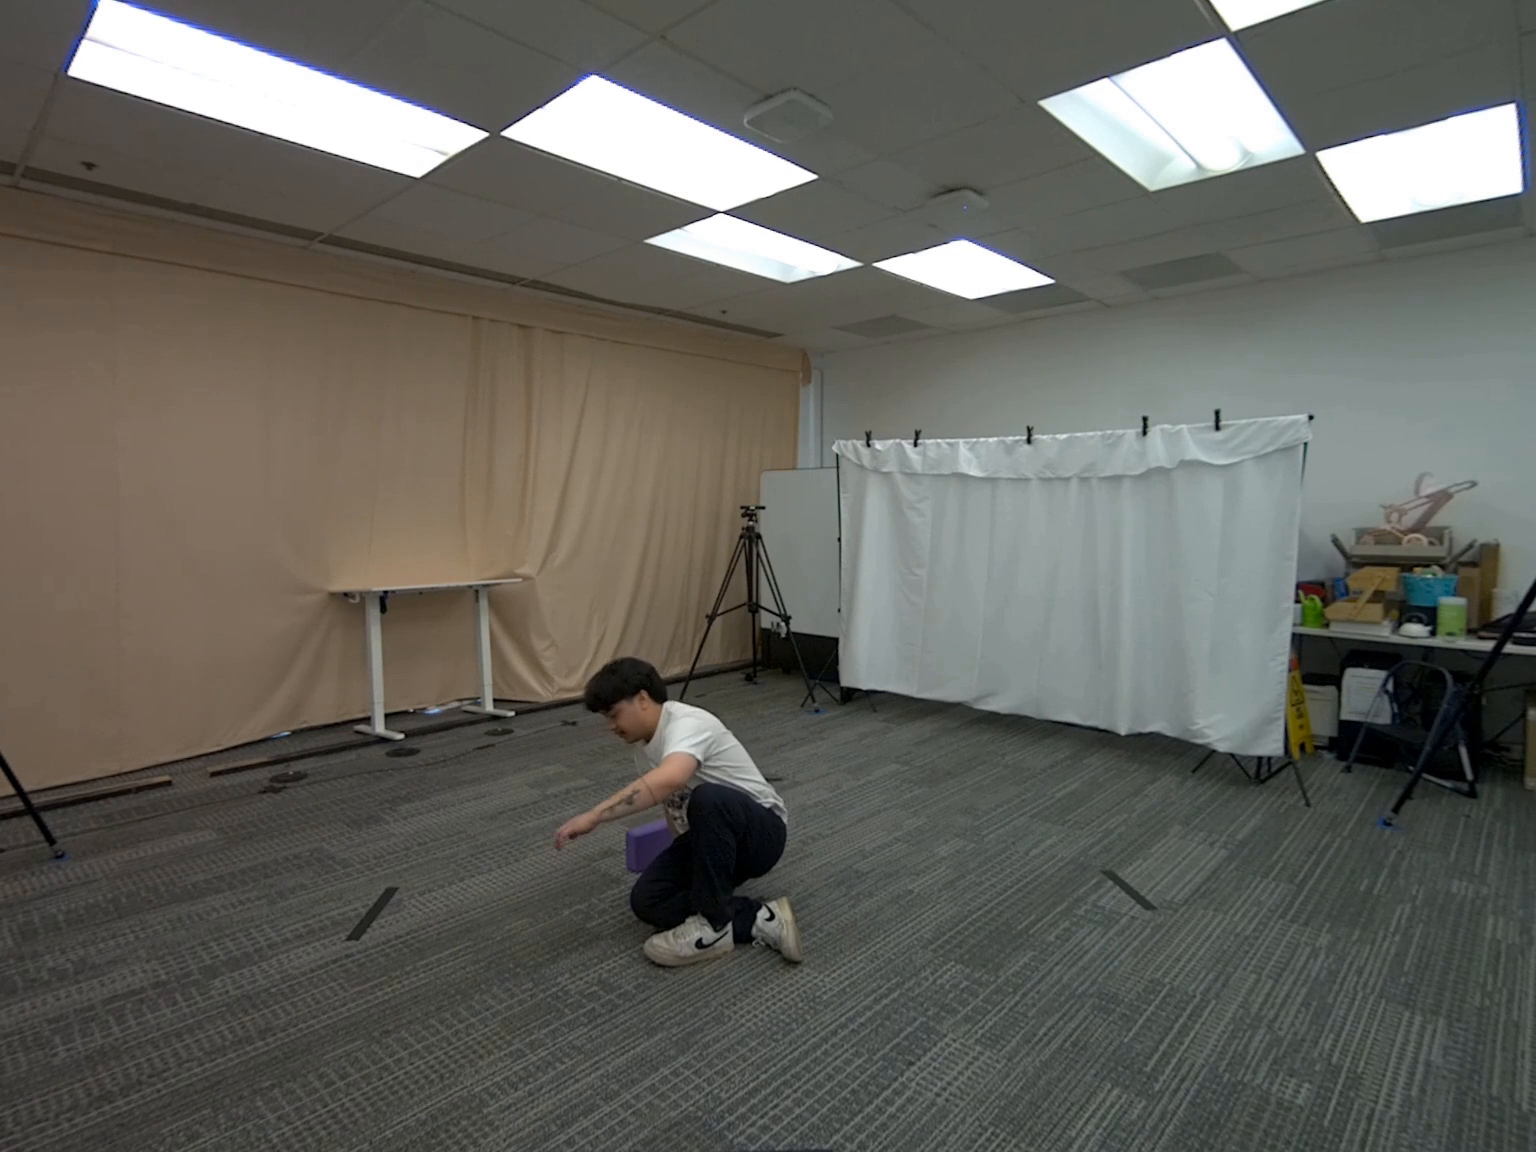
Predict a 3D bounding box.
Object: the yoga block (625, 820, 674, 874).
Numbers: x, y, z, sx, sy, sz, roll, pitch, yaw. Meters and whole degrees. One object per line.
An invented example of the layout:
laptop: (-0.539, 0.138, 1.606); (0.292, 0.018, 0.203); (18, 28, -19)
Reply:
yoga block: (-0.449, 1.046, 3.292); (0.222, 0.149, 0.079); (-6, 4, -41)
